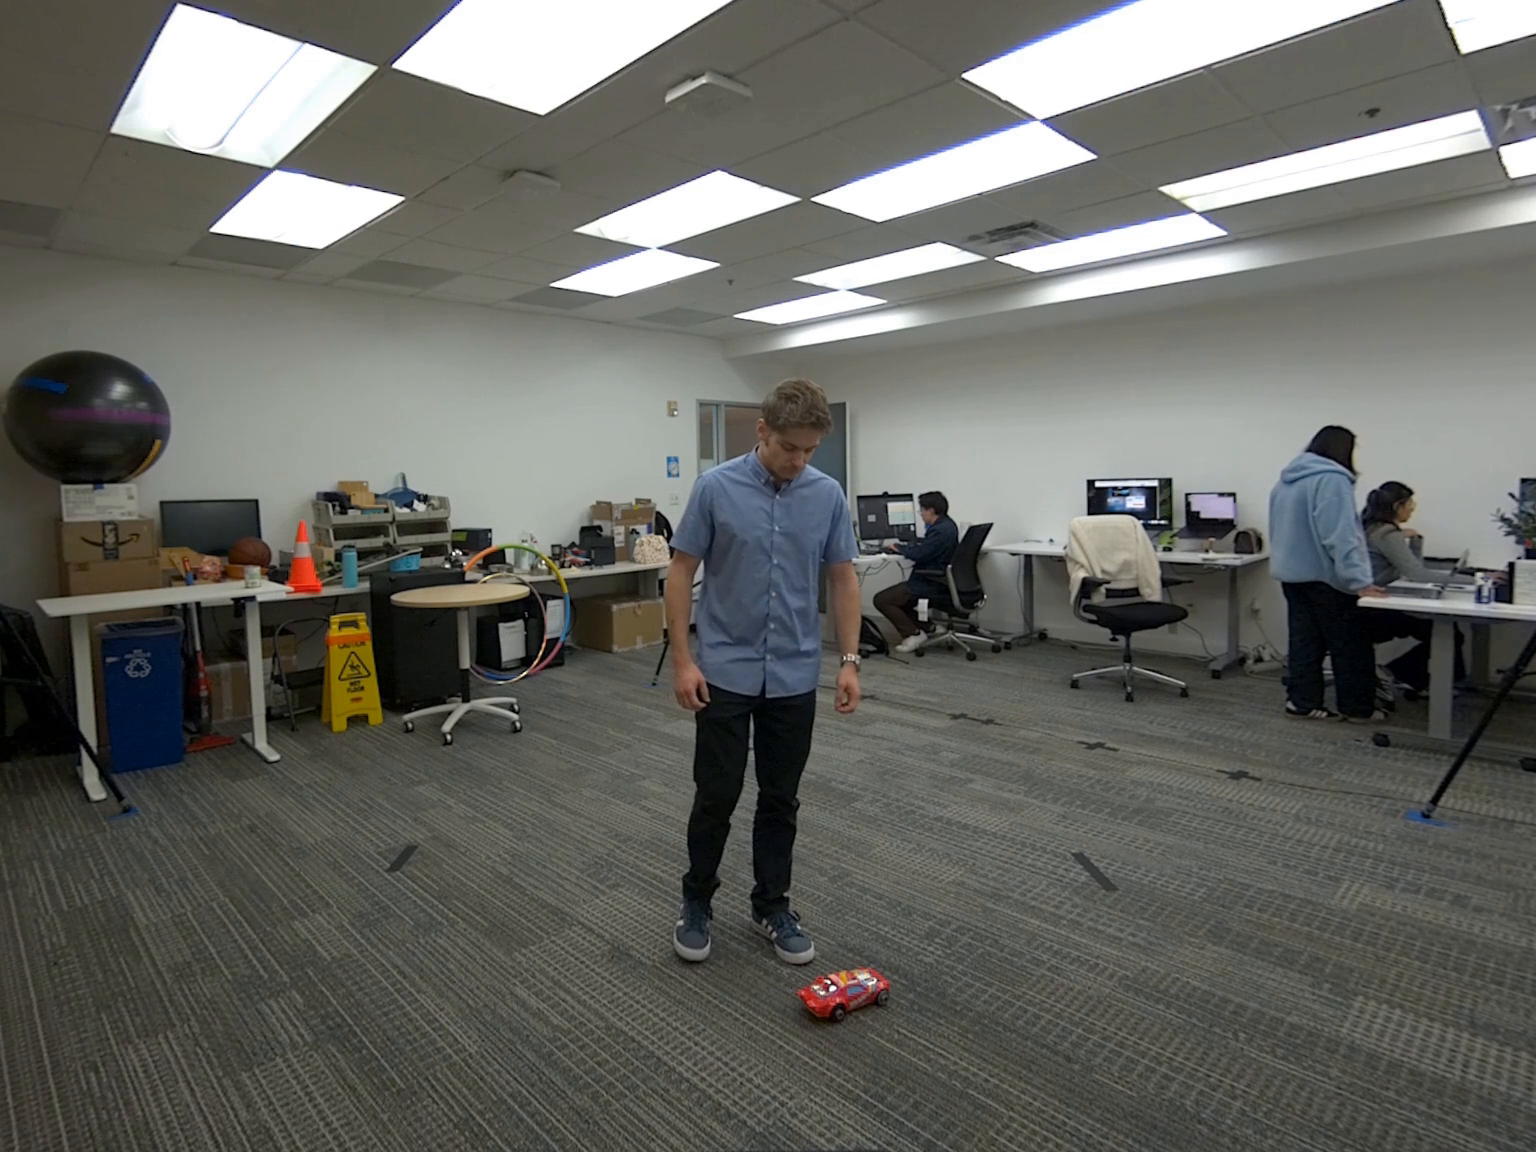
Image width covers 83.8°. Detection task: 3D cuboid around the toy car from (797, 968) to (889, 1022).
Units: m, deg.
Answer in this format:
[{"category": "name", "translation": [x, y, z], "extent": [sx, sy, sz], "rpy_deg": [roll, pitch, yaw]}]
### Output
[{"category": "toy car", "translation": [0.205, 1.109, 2.261], "extent": [0.248, 0.083, 0.134], "rpy_deg": [8, 2, -28]}]
